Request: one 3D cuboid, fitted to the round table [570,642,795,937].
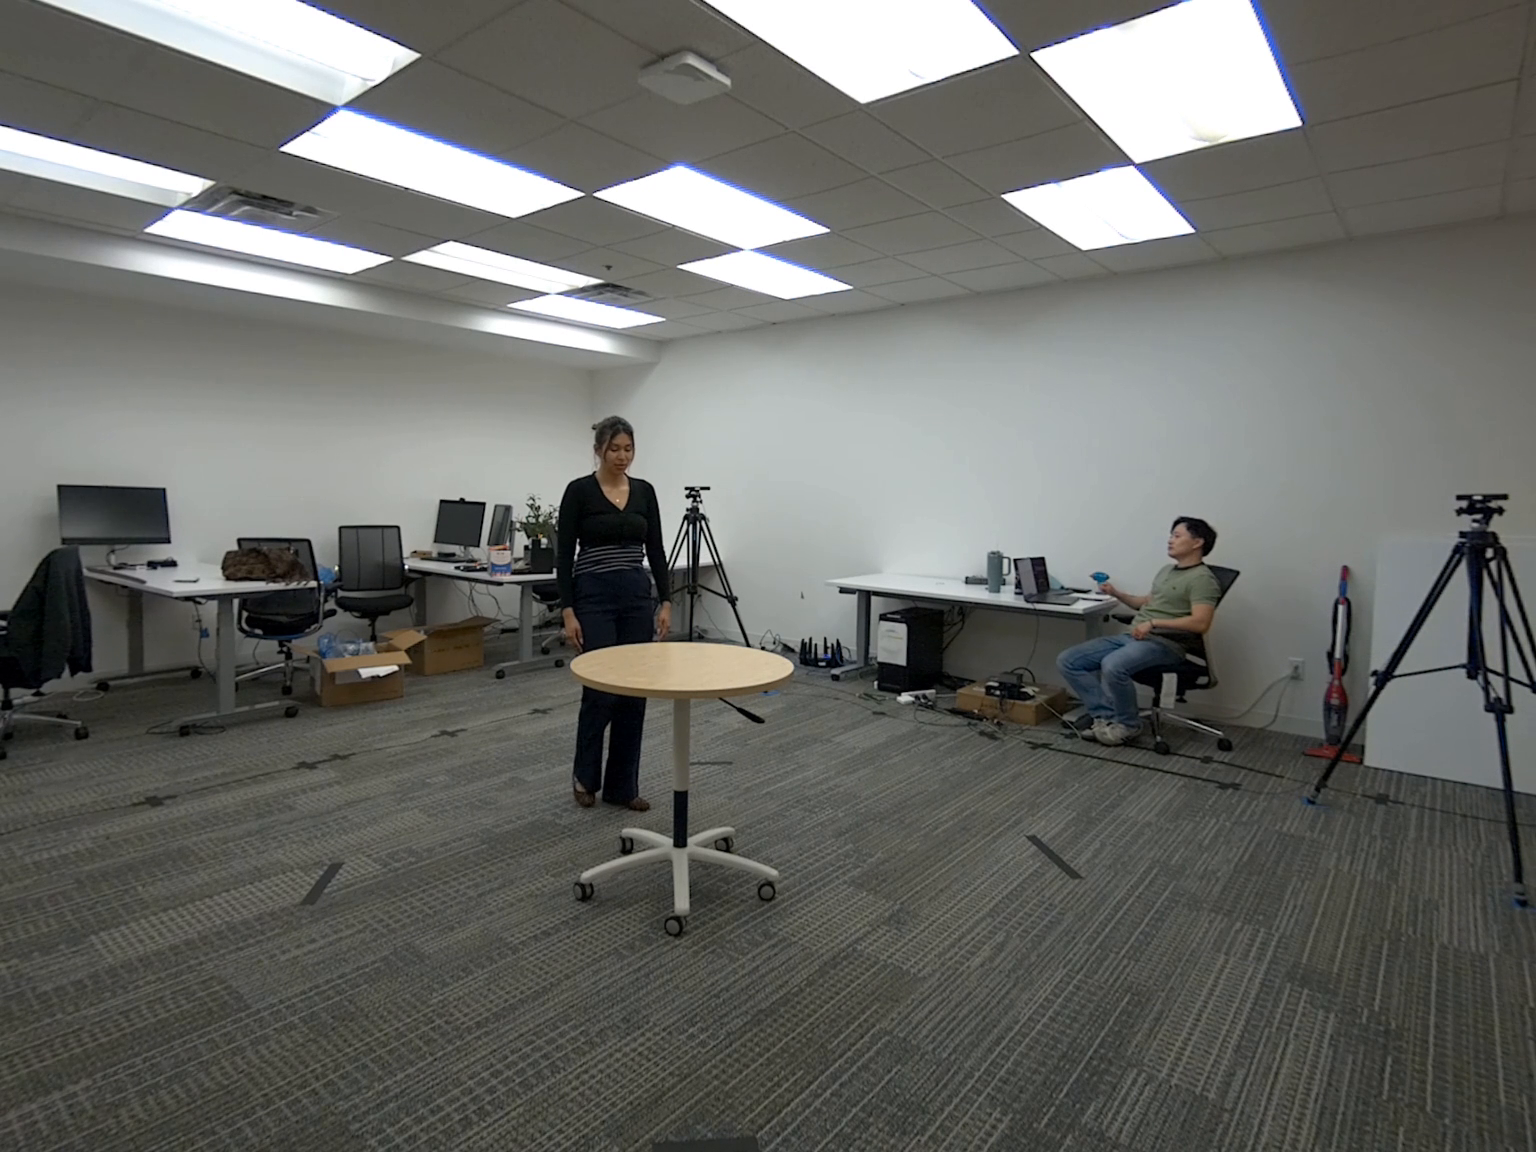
[{"bbox_3d":[-0.313,0.691,2.958,0.763,0.791,0.768,1,4,-2],"label":"round table"}]
